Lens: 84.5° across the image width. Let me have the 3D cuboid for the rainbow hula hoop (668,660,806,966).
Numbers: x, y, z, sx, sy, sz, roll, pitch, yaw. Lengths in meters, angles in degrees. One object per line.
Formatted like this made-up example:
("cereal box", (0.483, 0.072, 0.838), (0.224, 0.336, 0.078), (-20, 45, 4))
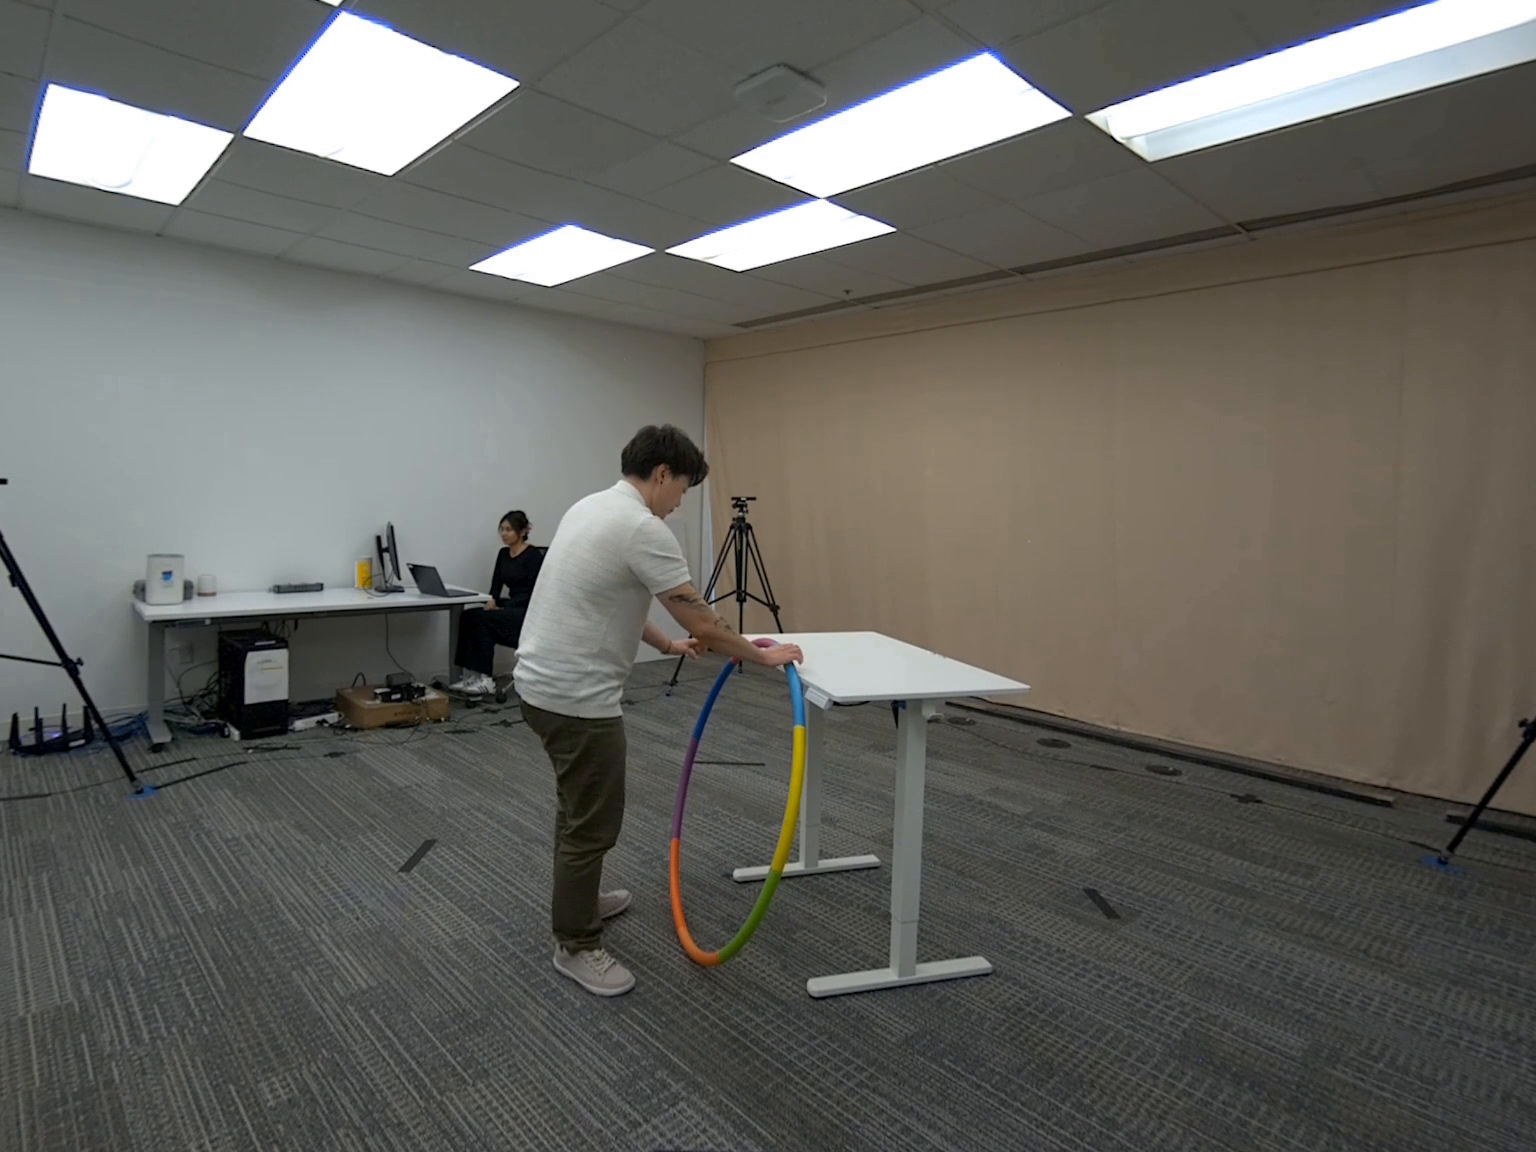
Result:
("rainbow hula hoop", (-0.136, 0.675, 2.632), (0.035, 0.979, 0.995), (16, -1, -19))
